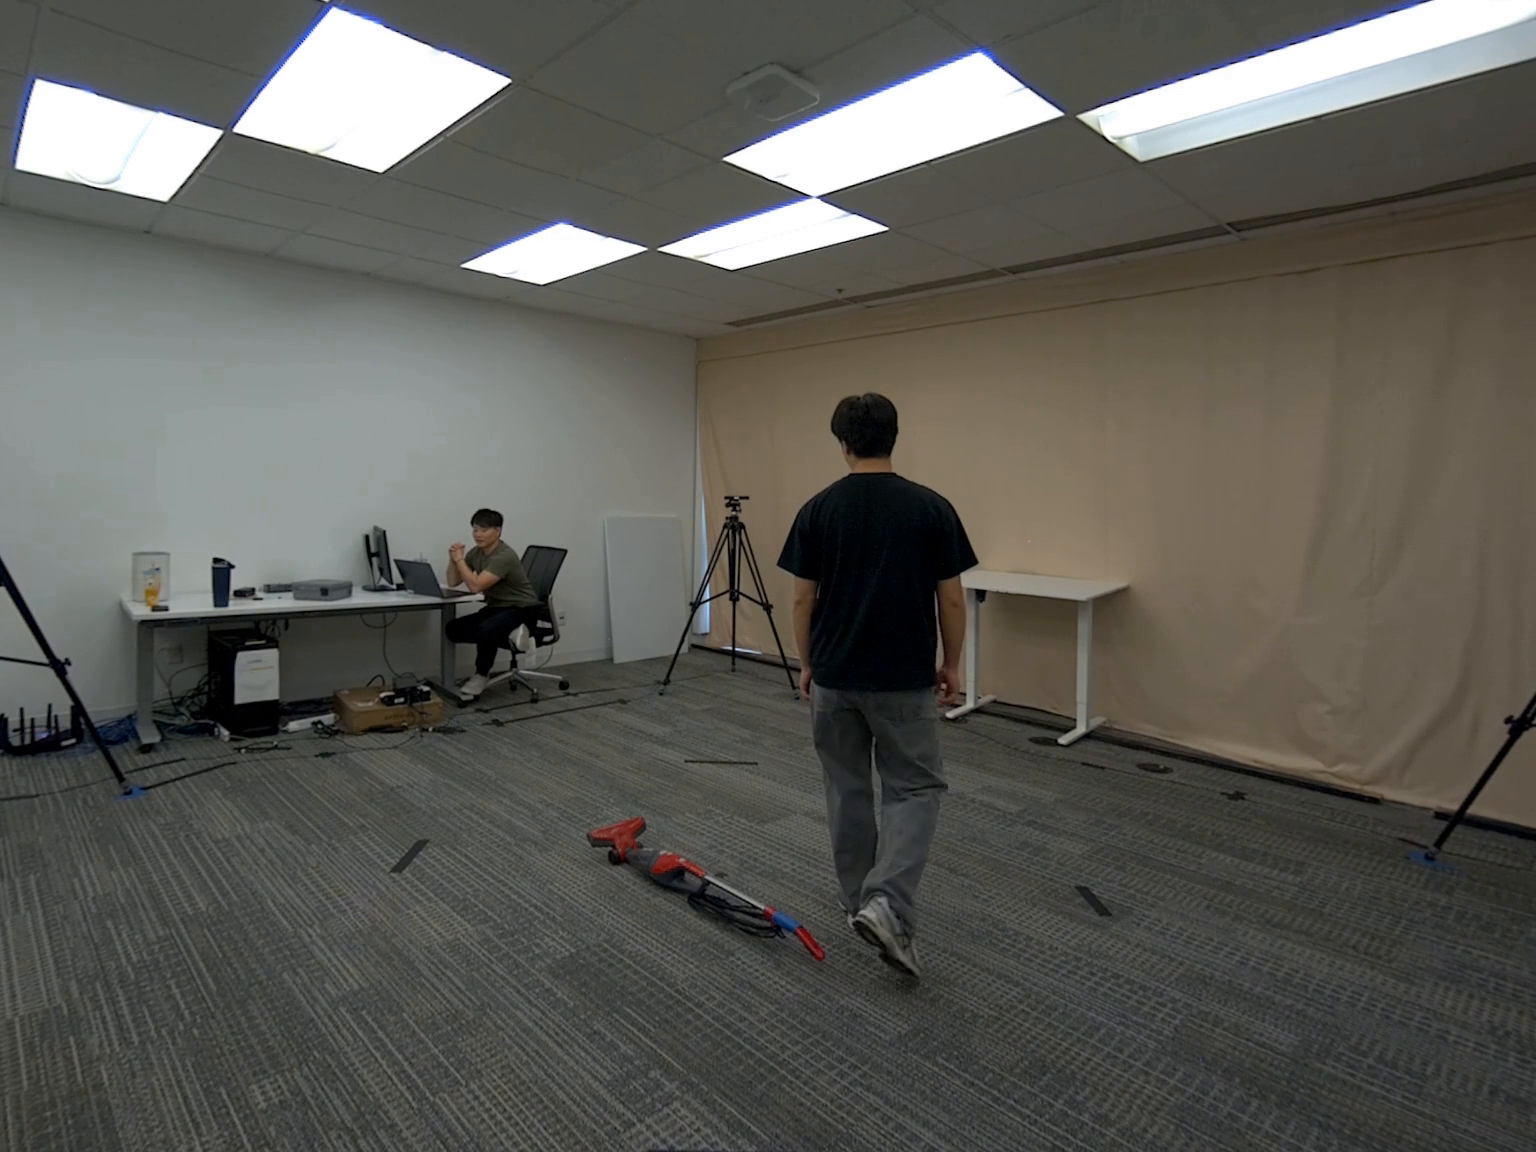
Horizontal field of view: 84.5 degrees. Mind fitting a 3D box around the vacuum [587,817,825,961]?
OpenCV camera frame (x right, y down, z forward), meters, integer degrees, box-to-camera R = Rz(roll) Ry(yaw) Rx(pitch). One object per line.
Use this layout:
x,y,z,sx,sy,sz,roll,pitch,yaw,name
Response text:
-0.224,1.073,2.854,0.247,0.143,1.077,-3,7,-42,vacuum
